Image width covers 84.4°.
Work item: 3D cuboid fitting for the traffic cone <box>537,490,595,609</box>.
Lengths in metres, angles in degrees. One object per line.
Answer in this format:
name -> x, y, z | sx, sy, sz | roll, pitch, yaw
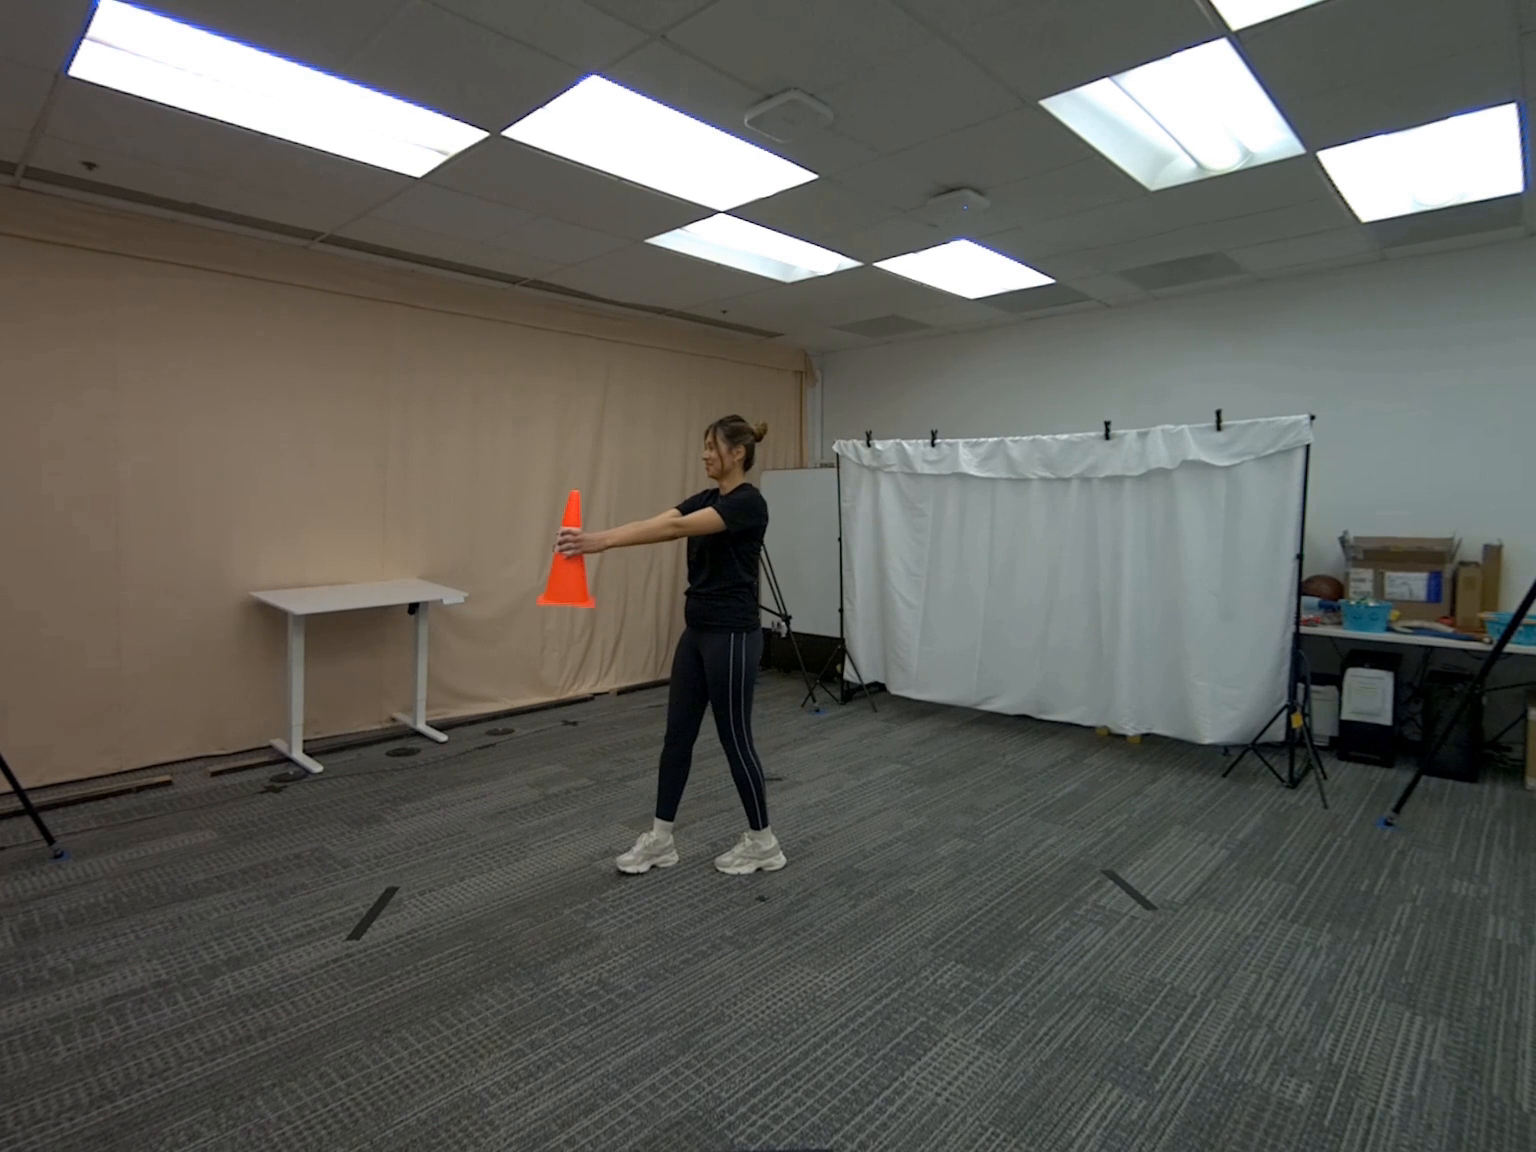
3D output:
traffic cone -> -0.684, -0.104, 2.900 | 0.212, 0.382, 0.197 | 9, 6, 35
